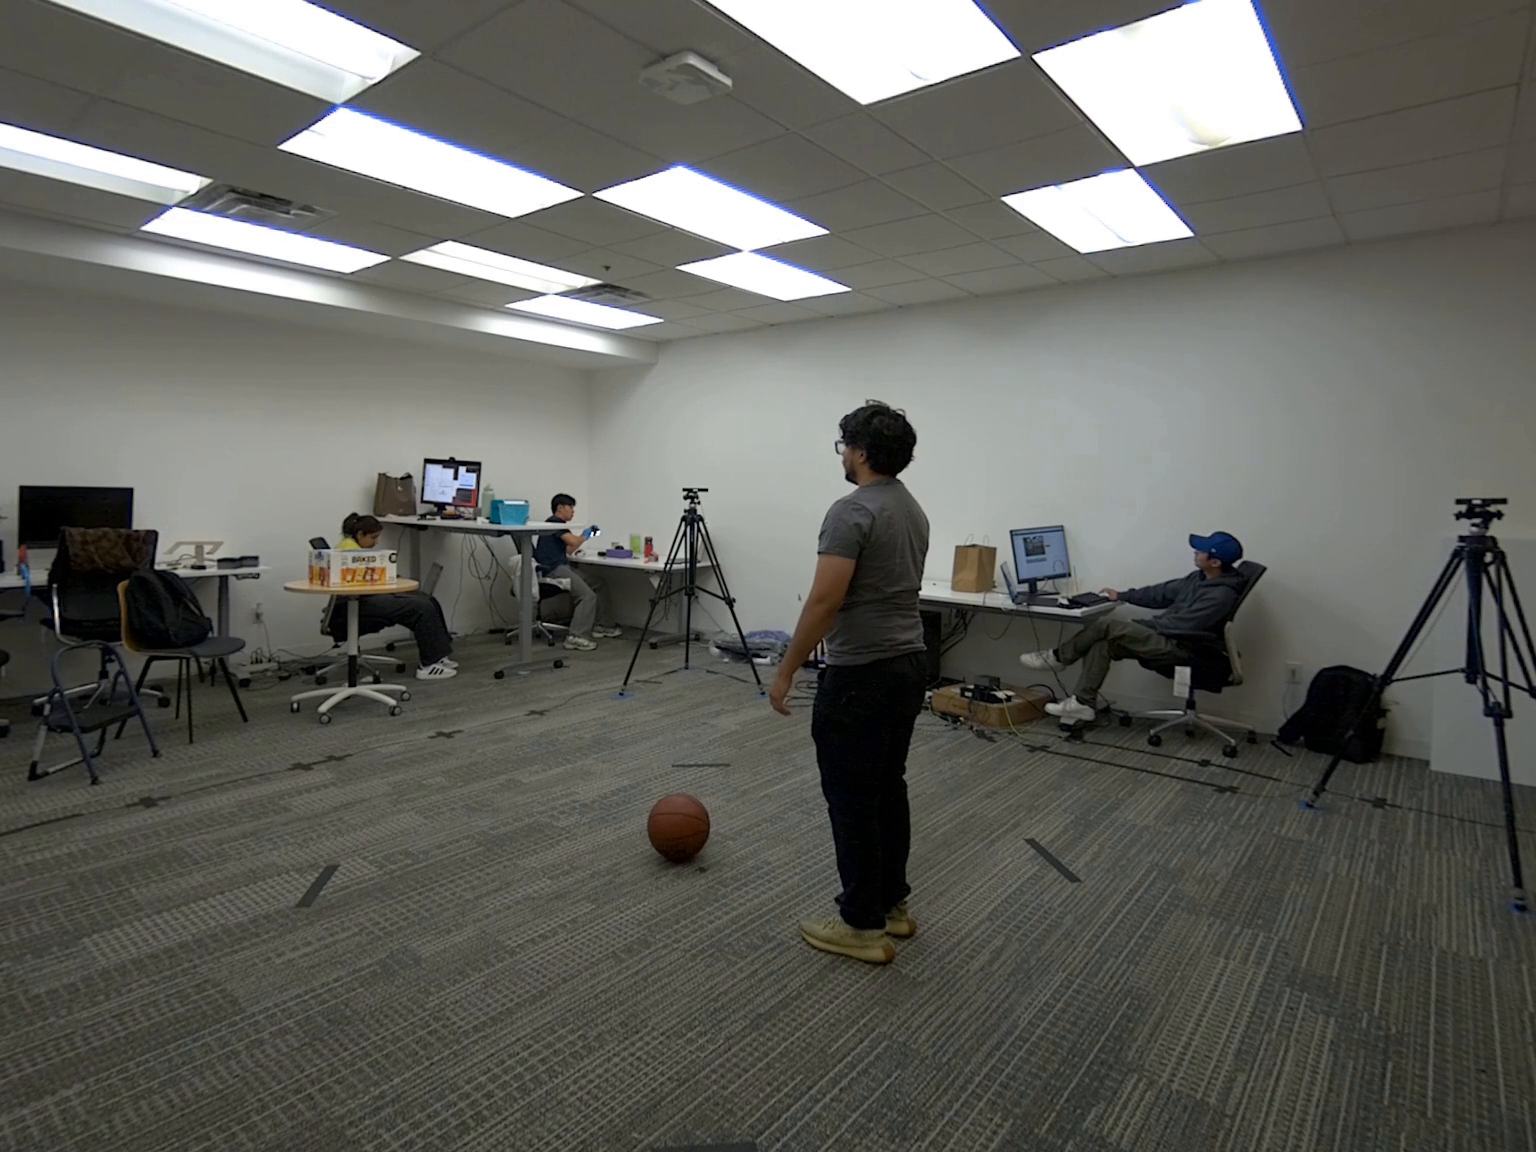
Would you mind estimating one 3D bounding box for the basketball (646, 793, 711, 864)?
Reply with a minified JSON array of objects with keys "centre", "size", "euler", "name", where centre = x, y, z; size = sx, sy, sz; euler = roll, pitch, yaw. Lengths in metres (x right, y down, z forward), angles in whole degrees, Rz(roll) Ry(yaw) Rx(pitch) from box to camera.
[{"centre":[-0.348,0.937,3.201],"size":[0.235,0.235,0.237],"euler":[1,4,-2],"name":"basketball"}]
